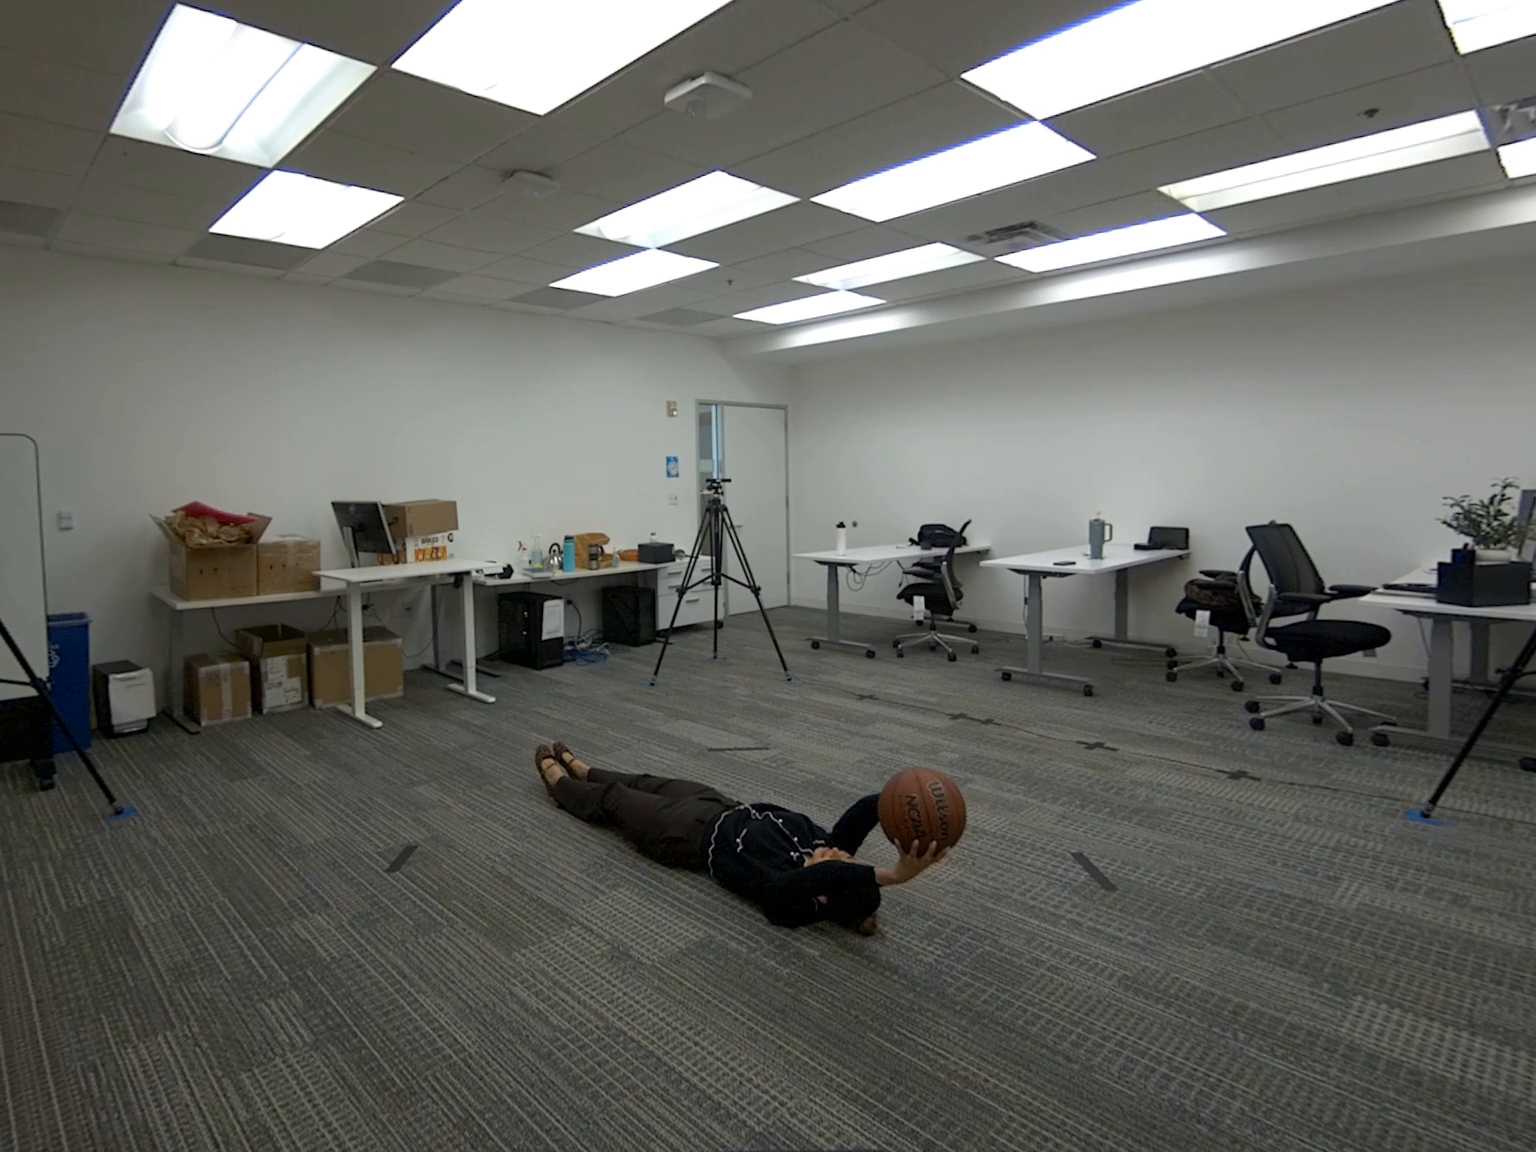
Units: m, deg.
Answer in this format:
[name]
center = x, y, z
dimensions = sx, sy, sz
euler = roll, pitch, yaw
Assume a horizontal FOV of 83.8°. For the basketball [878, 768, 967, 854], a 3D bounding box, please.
[basketball]
center = 0.421, 0.646, 2.330
dimensions = 0.236, 0.235, 0.237
euler = -1, 5, -2
